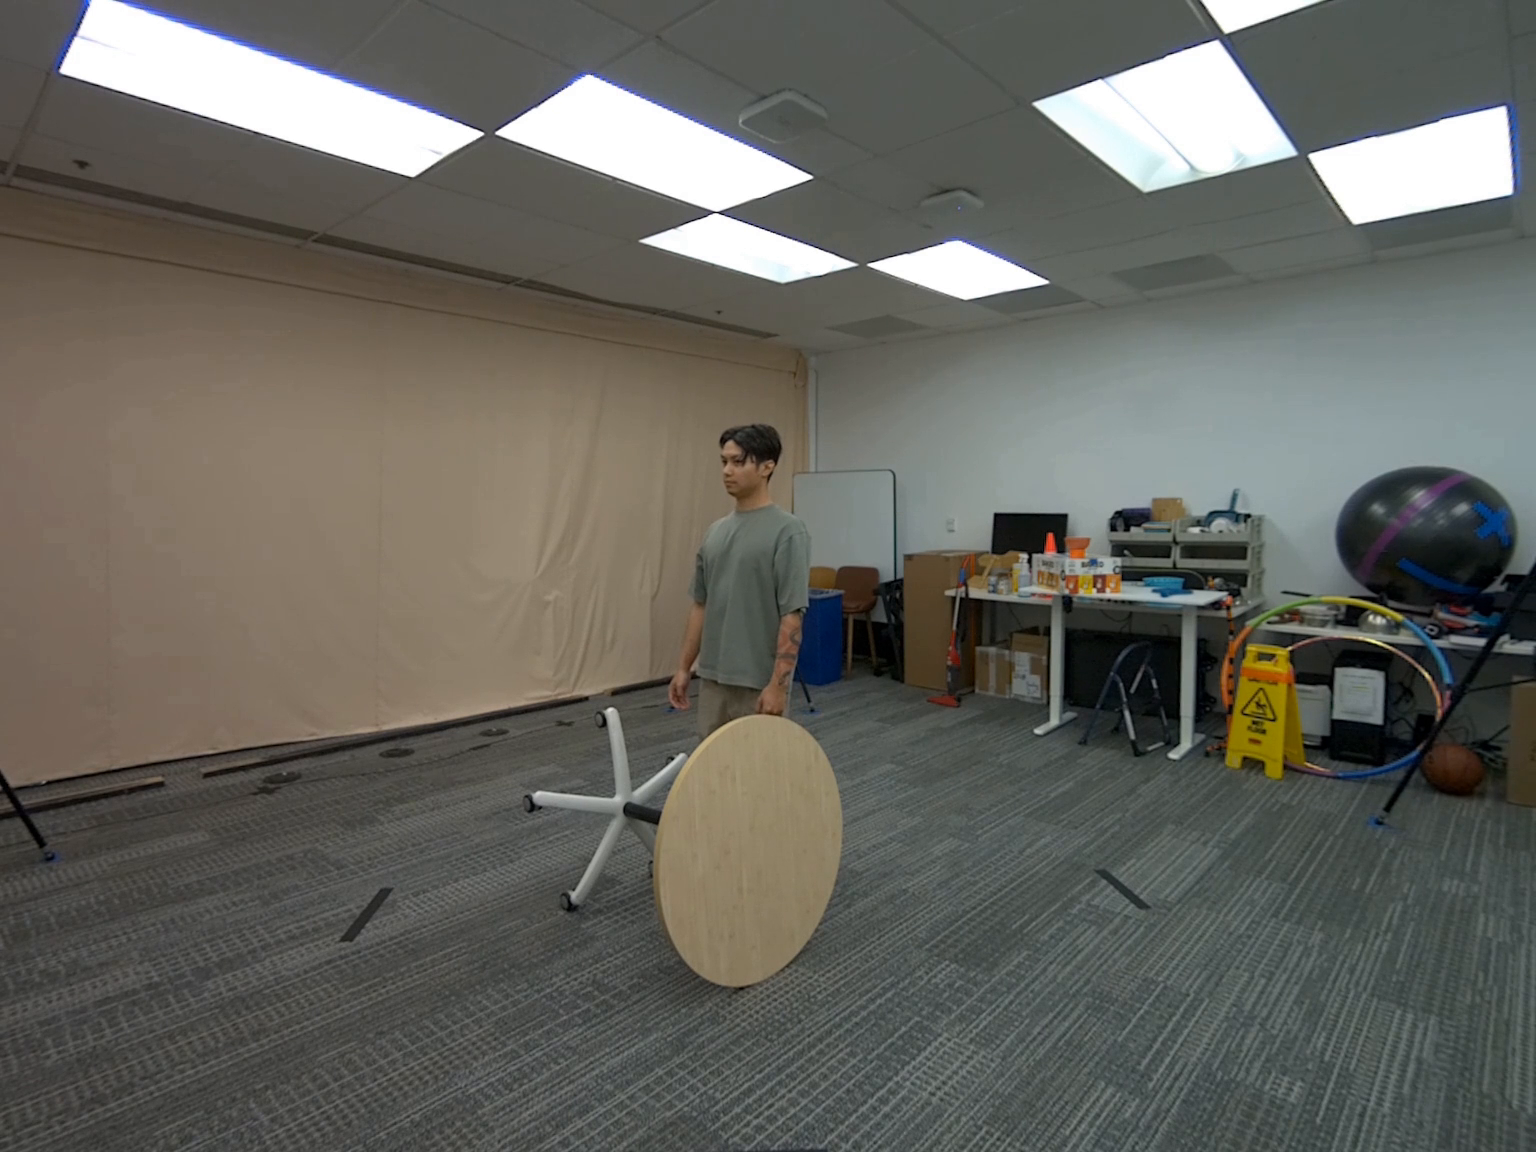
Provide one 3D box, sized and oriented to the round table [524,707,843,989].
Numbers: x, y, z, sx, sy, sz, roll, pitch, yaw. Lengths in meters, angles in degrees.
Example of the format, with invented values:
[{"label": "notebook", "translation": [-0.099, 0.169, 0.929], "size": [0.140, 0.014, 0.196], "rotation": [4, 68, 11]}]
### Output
[{"label": "round table", "translation": [-0.313, 0.820, 2.779], "size": [0.761, 0.786, 0.810], "rotation": [-4, -1, -44]}]
